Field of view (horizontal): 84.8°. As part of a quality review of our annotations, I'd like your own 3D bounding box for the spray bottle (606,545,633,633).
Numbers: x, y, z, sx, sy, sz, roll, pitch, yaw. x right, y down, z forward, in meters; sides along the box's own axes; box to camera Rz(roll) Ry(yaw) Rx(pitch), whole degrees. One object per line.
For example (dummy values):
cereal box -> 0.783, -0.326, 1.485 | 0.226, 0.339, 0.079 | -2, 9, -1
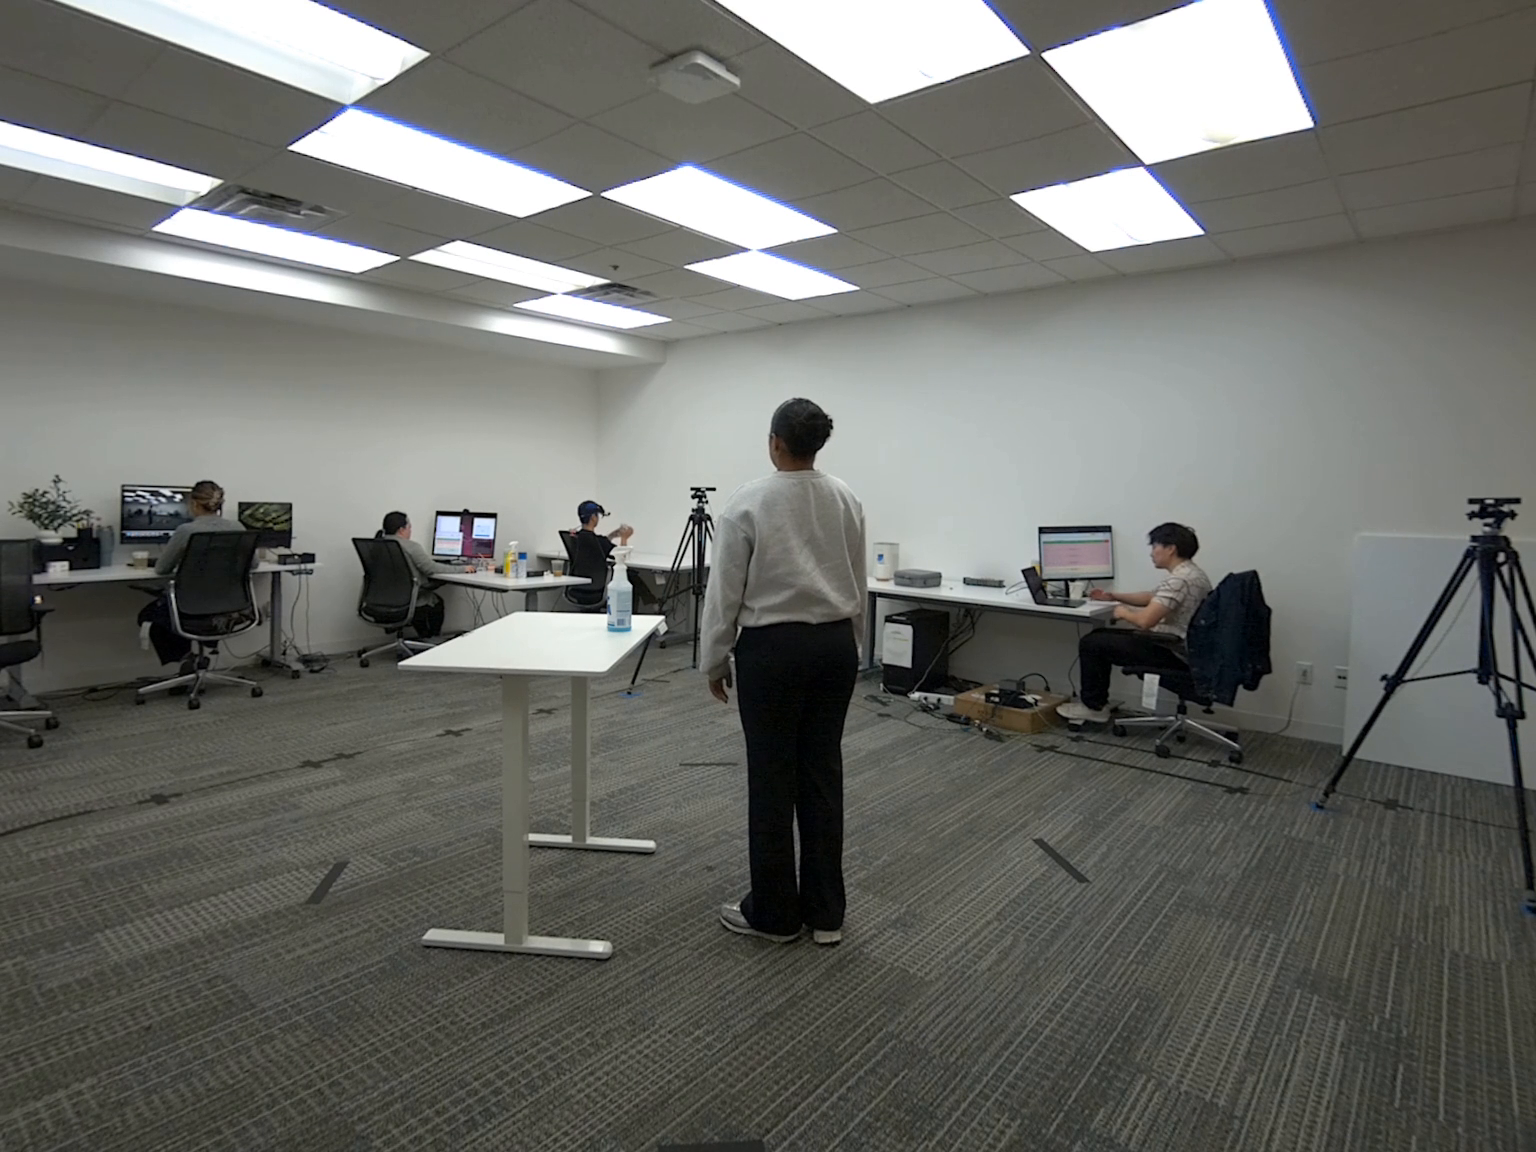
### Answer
spray bottle -> -0.537, 0.044, 2.983 | 0.084, 0.296, 0.093 | -2, 5, -42
